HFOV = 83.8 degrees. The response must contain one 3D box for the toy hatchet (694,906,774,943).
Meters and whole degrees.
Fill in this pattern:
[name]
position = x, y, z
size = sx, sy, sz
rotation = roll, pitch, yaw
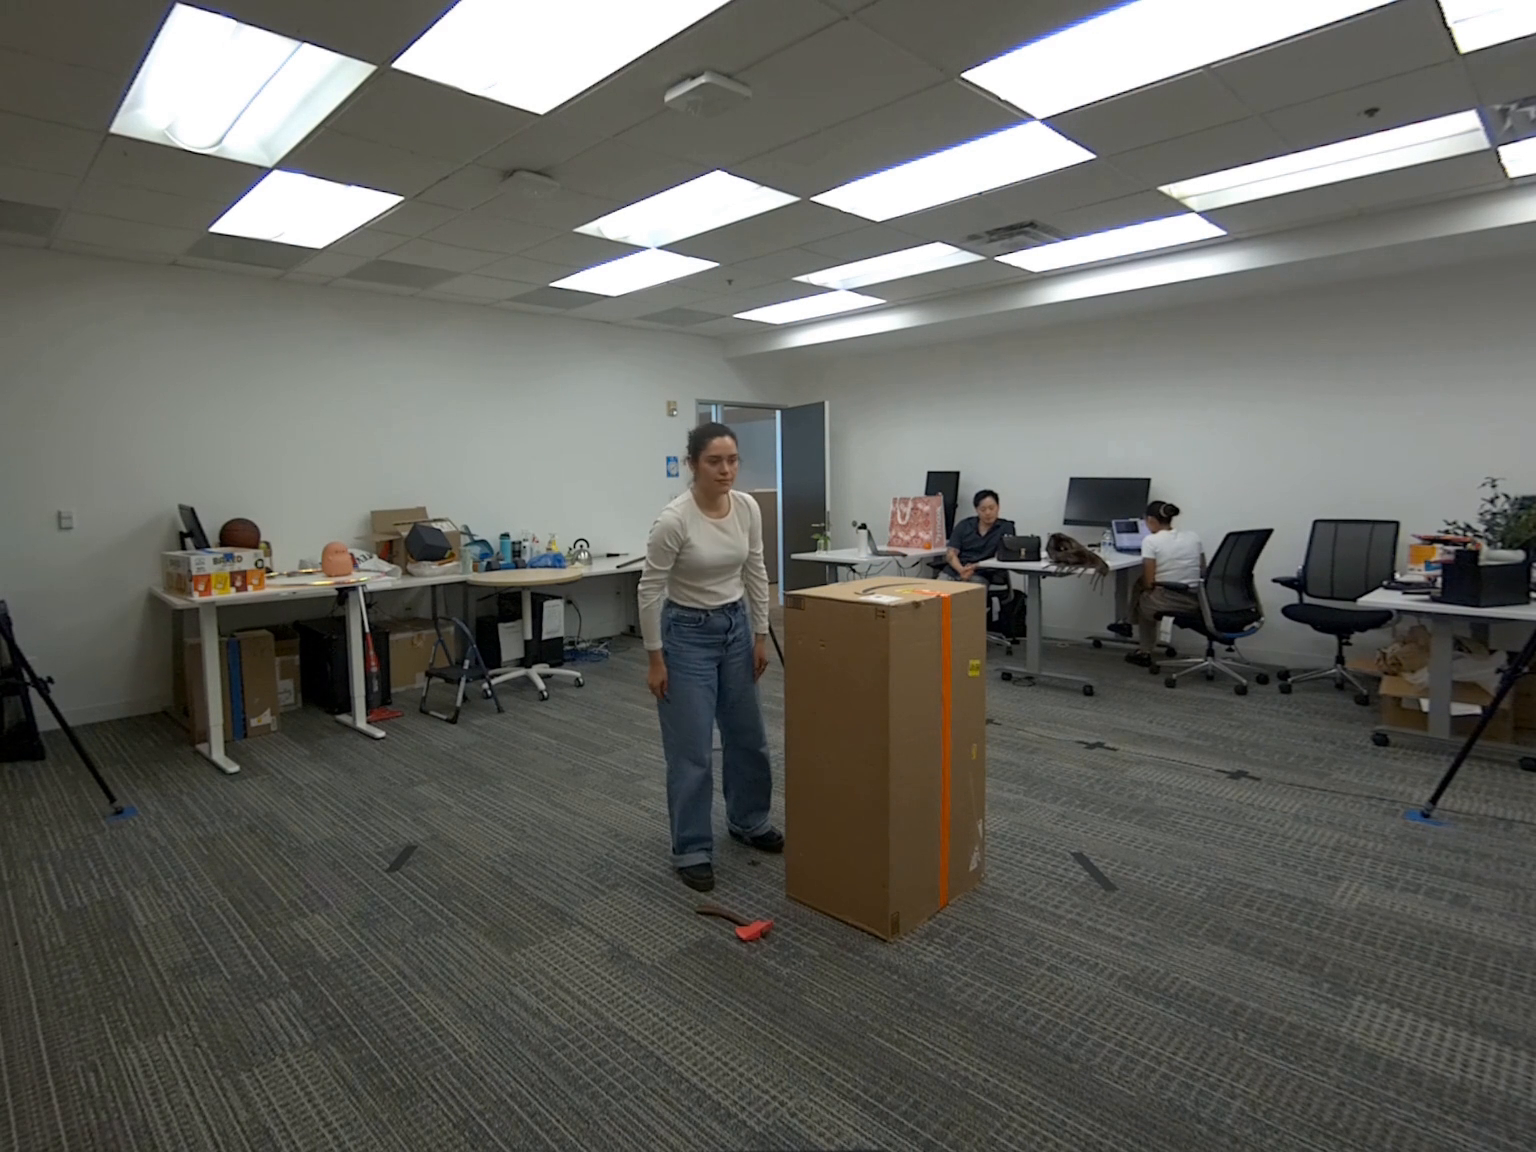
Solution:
[toy hatchet]
position = -0.125, 1.088, 2.669
size = 0.277, 0.029, 0.129
rotation = 1, 10, 28
